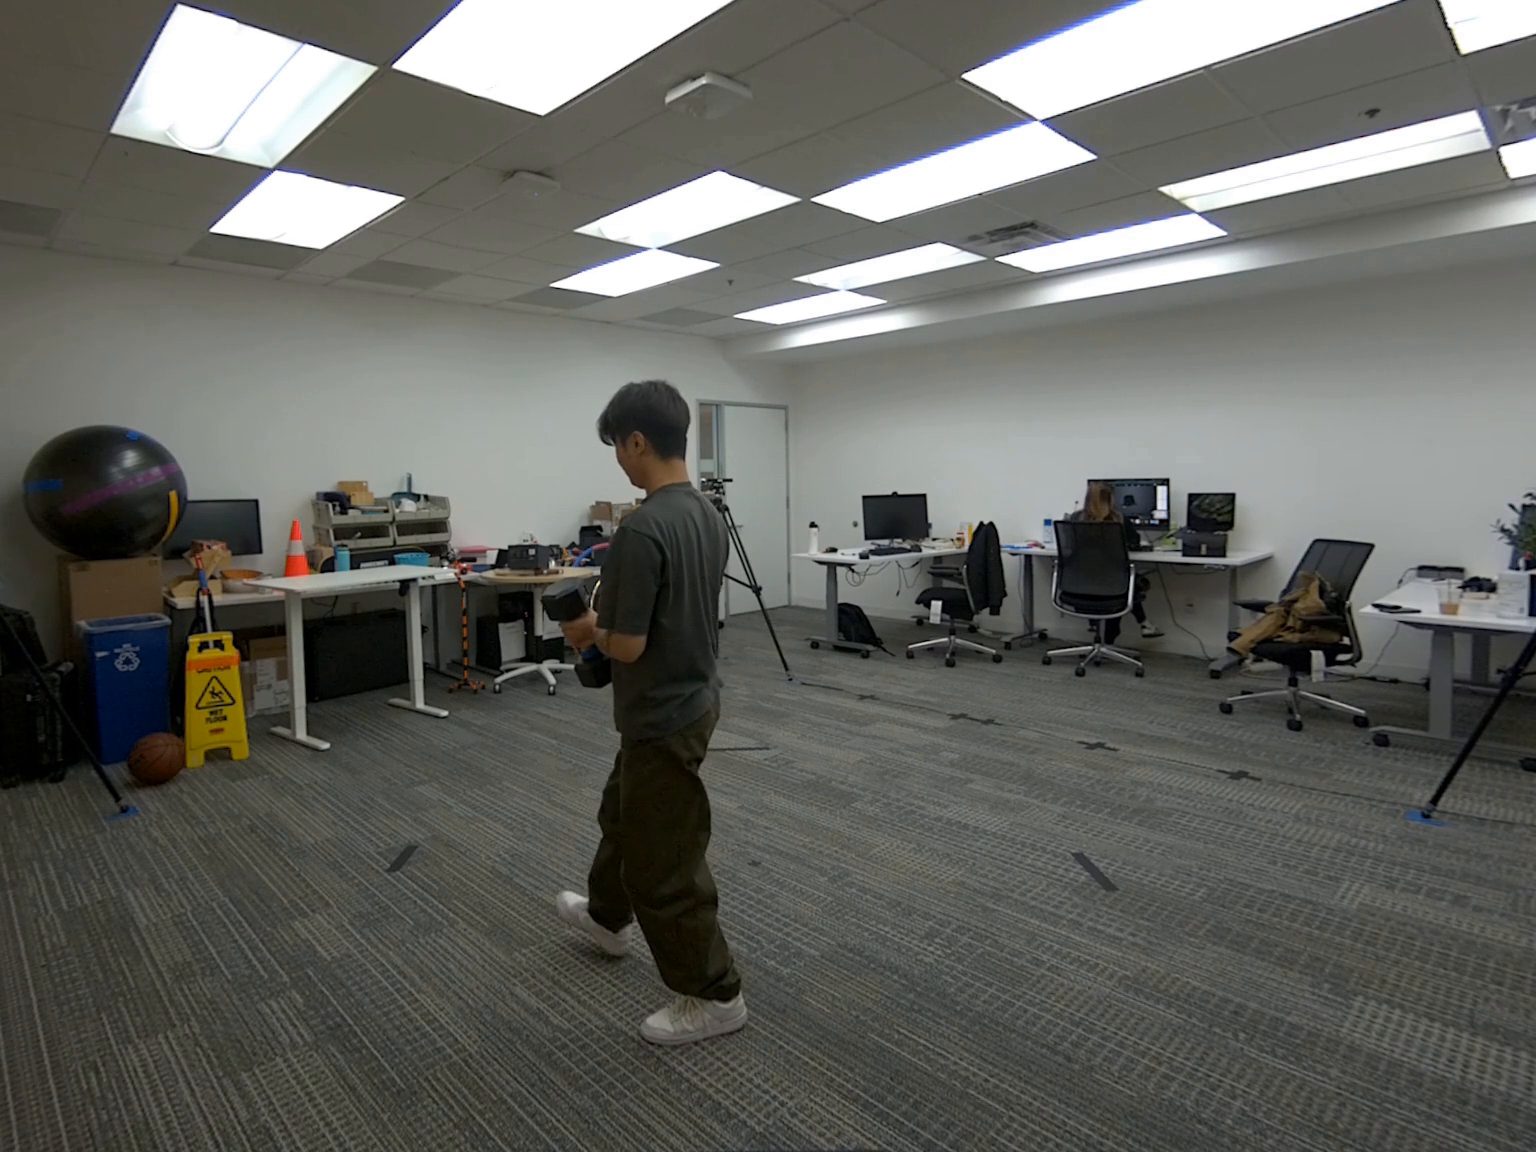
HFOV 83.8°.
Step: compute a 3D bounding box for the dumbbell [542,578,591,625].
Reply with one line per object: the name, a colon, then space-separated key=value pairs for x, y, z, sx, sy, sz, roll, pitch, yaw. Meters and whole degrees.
dumbbell: x=-0.479 y=0.152 z=2.233 sx=0.122 sy=0.287 sz=0.112 roll=-28 pitch=21 yaw=-18
